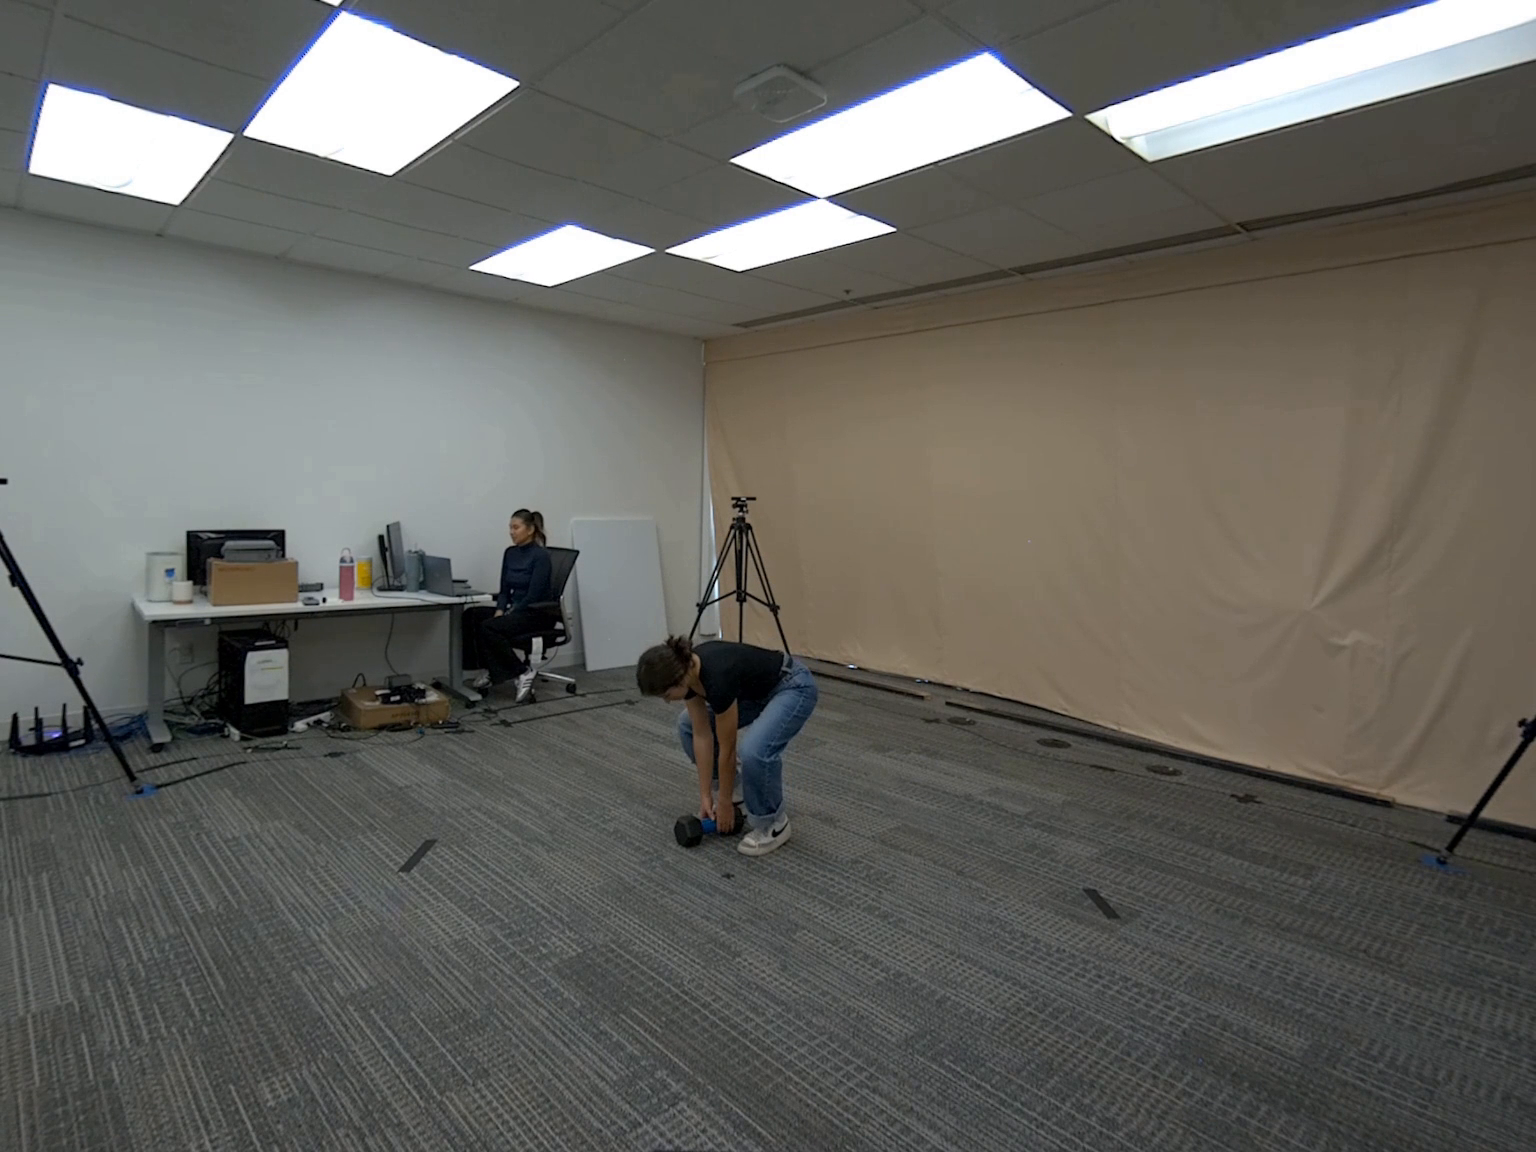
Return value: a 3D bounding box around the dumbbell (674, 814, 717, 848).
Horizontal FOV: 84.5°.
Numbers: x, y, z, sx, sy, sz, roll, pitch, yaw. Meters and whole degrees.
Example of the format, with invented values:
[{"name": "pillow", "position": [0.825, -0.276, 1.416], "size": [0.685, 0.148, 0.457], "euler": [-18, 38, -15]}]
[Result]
[{"name": "dumbbell", "position": [-0.247, 1.019, 3.442], "size": [0.287, 0.125, 0.109], "euler": [-2, -27, -40]}]
